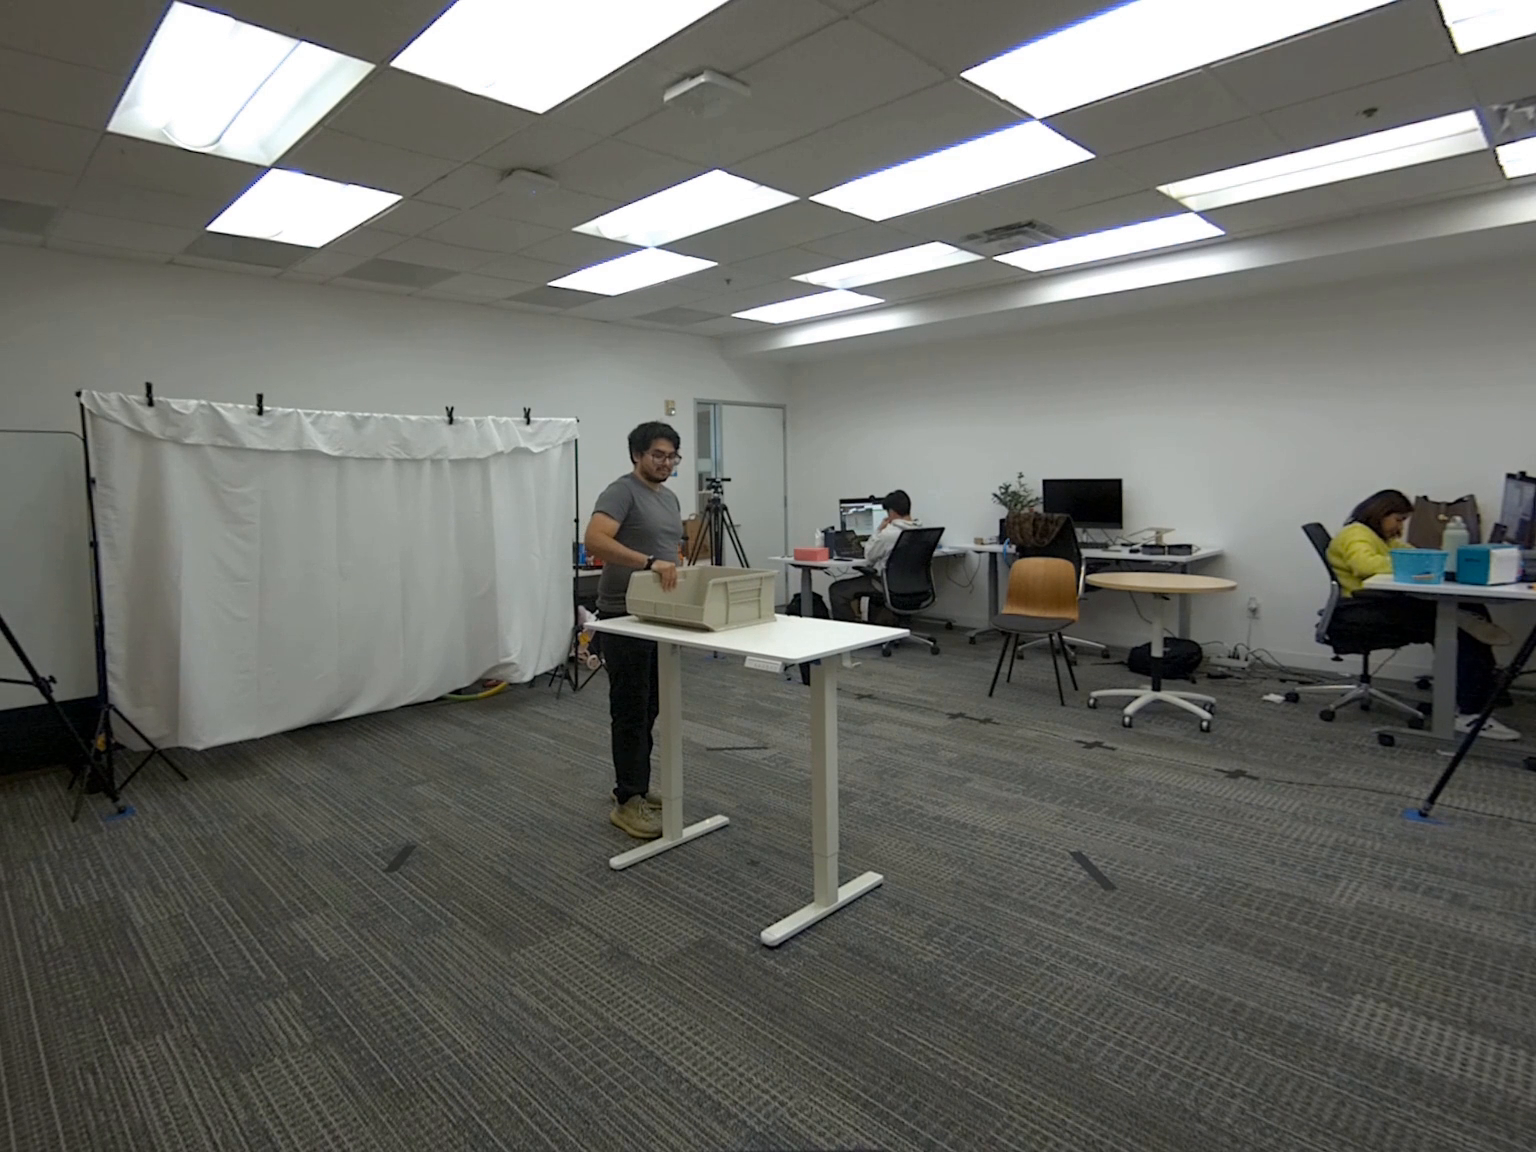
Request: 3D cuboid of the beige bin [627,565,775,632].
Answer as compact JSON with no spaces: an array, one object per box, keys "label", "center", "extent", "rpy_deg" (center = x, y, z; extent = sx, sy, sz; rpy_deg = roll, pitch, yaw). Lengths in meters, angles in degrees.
[{"label":"beige bin","center":[-0.237,0.076,3.089],"extent":[0.435,0.188,0.367],"rpy_deg":[4,6,44]}]
